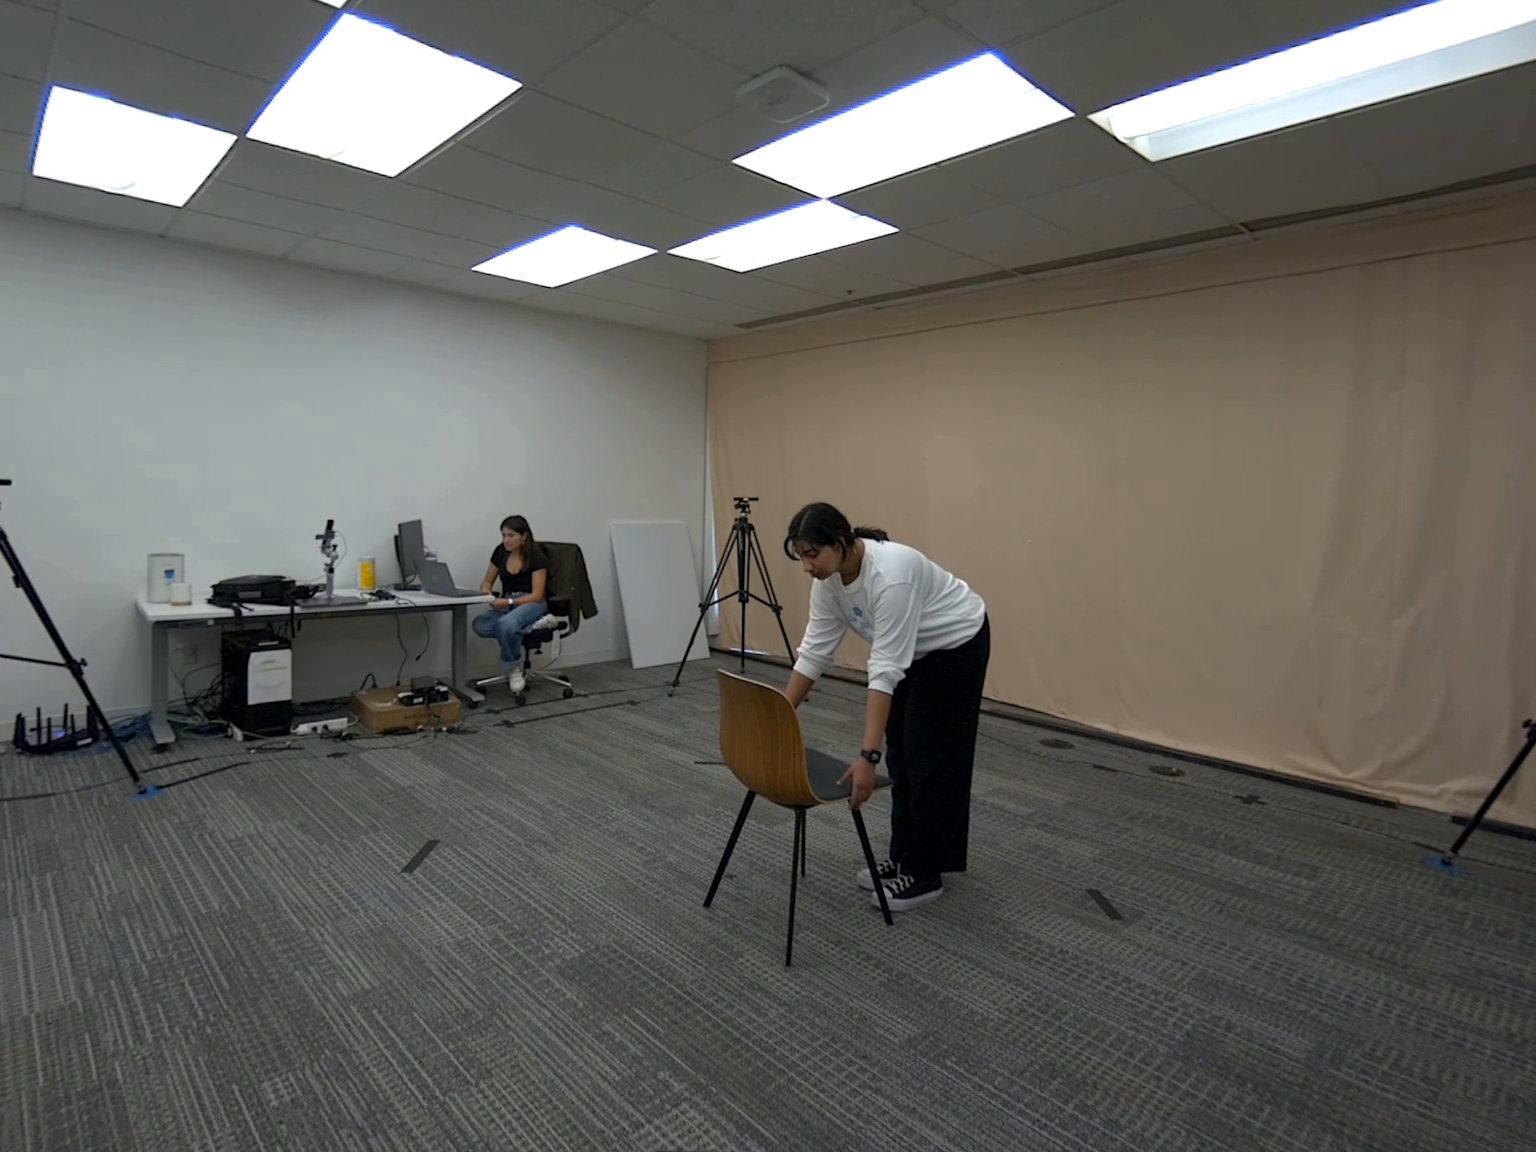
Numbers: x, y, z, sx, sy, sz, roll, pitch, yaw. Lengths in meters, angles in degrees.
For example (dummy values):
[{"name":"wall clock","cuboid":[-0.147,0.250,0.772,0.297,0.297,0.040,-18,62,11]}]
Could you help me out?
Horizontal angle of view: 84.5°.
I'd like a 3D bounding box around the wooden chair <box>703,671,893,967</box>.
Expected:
[{"name":"wooden chair","cuboid":[0.107,0.713,2.796,0.512,0.873,0.490,-7,8,-38]}]
